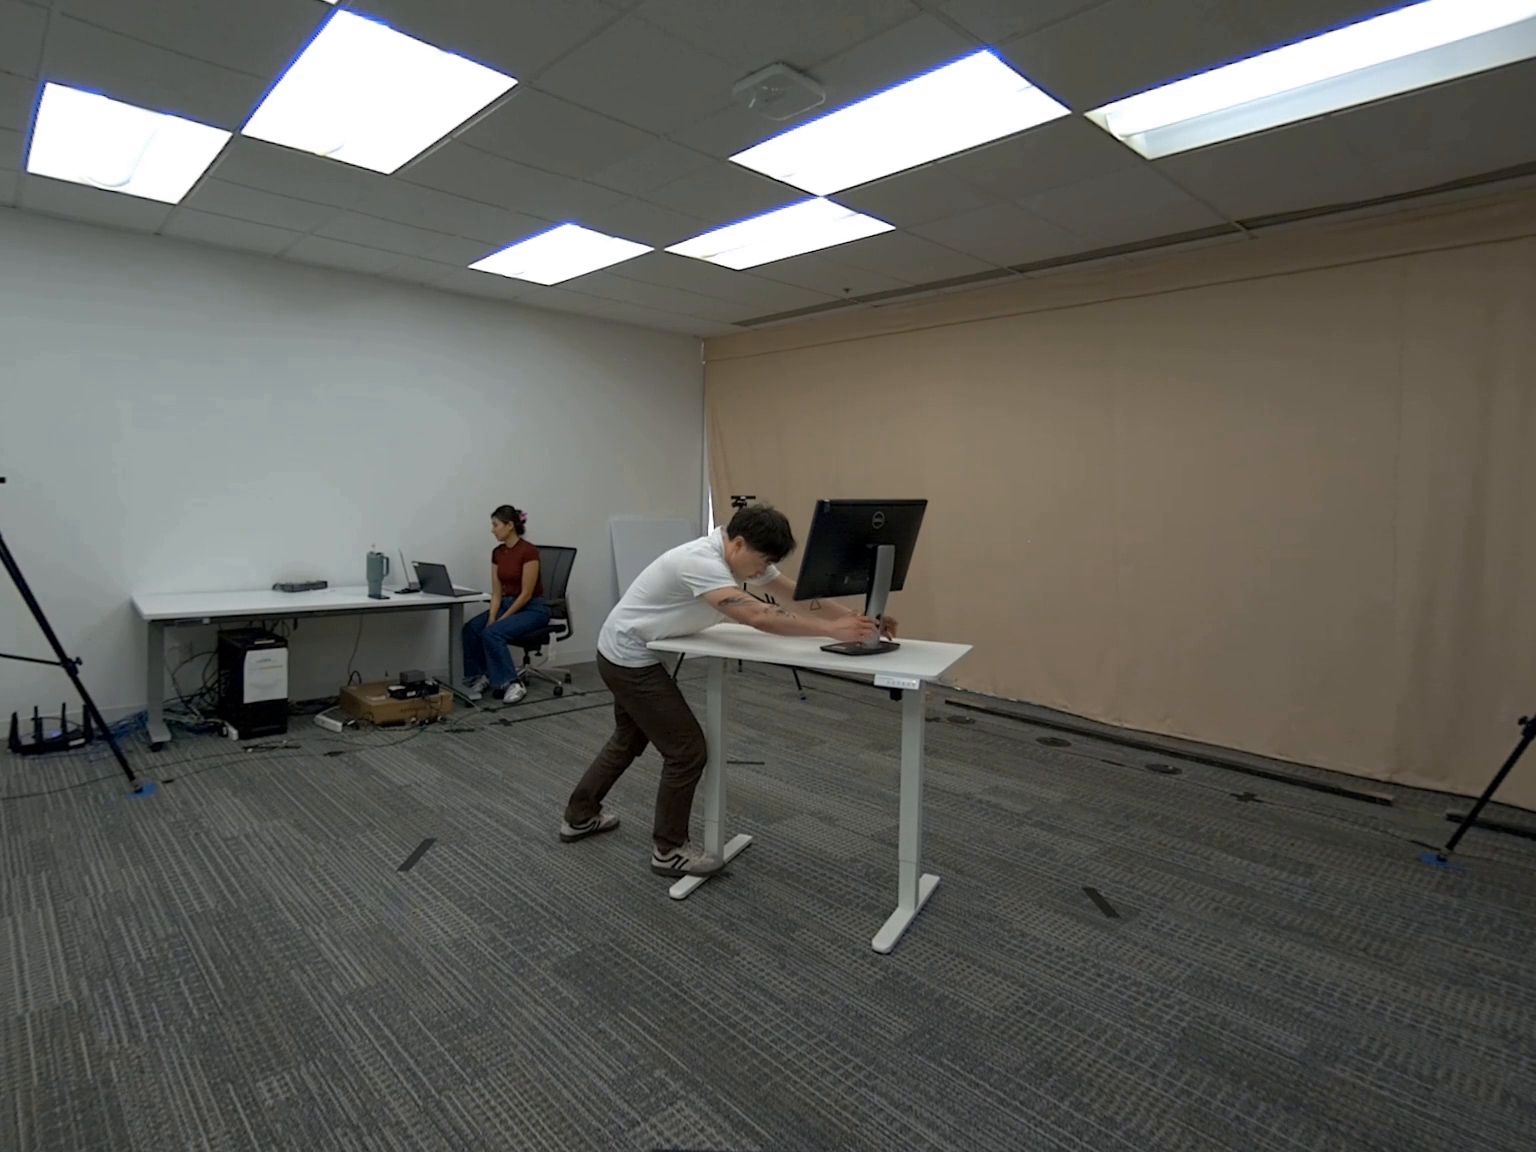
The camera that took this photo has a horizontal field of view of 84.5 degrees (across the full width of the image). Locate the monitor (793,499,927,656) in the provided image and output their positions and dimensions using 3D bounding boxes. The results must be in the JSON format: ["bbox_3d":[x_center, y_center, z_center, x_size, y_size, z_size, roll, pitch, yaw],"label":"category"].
[{"bbox_3d":[0.333,-0.005,2.864,0.527,0.519,0.192,-5,11,-42],"label":"monitor"}]
